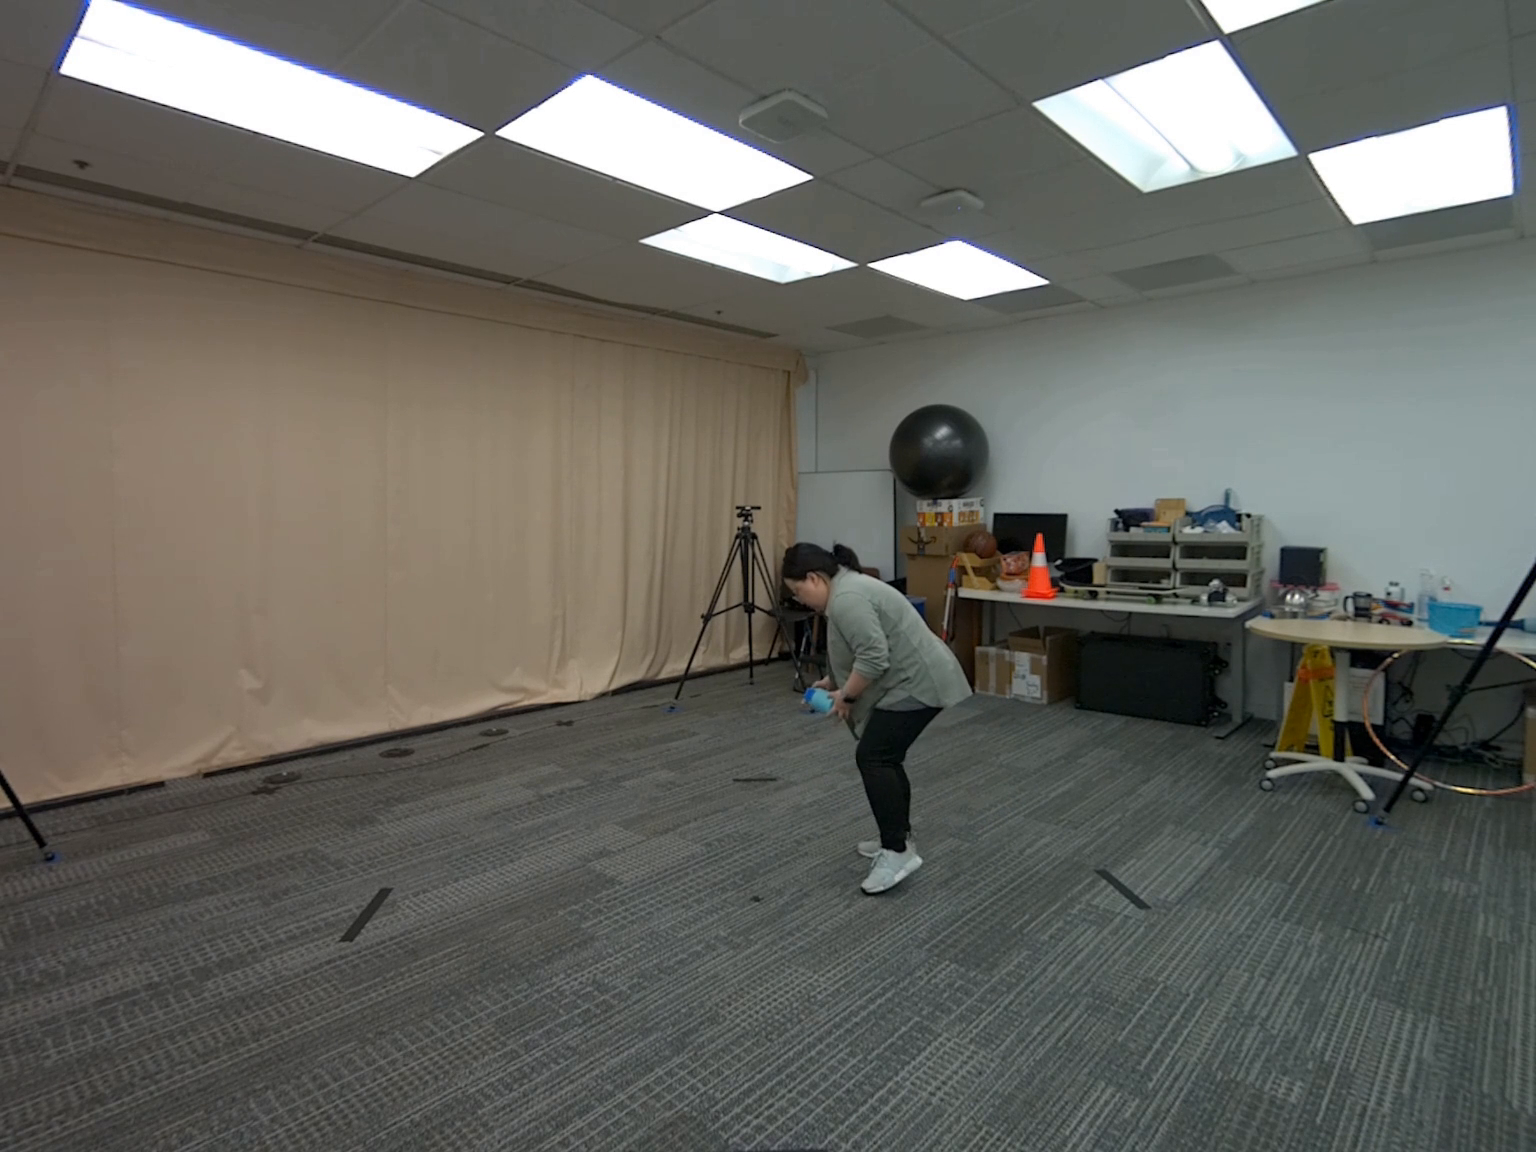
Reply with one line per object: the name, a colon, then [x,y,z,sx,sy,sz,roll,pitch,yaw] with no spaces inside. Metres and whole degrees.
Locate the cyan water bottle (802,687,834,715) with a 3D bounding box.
cyan water bottle: [0.227,0.510,3.353,0.091,0.092,0.288,-1,2,-18]
